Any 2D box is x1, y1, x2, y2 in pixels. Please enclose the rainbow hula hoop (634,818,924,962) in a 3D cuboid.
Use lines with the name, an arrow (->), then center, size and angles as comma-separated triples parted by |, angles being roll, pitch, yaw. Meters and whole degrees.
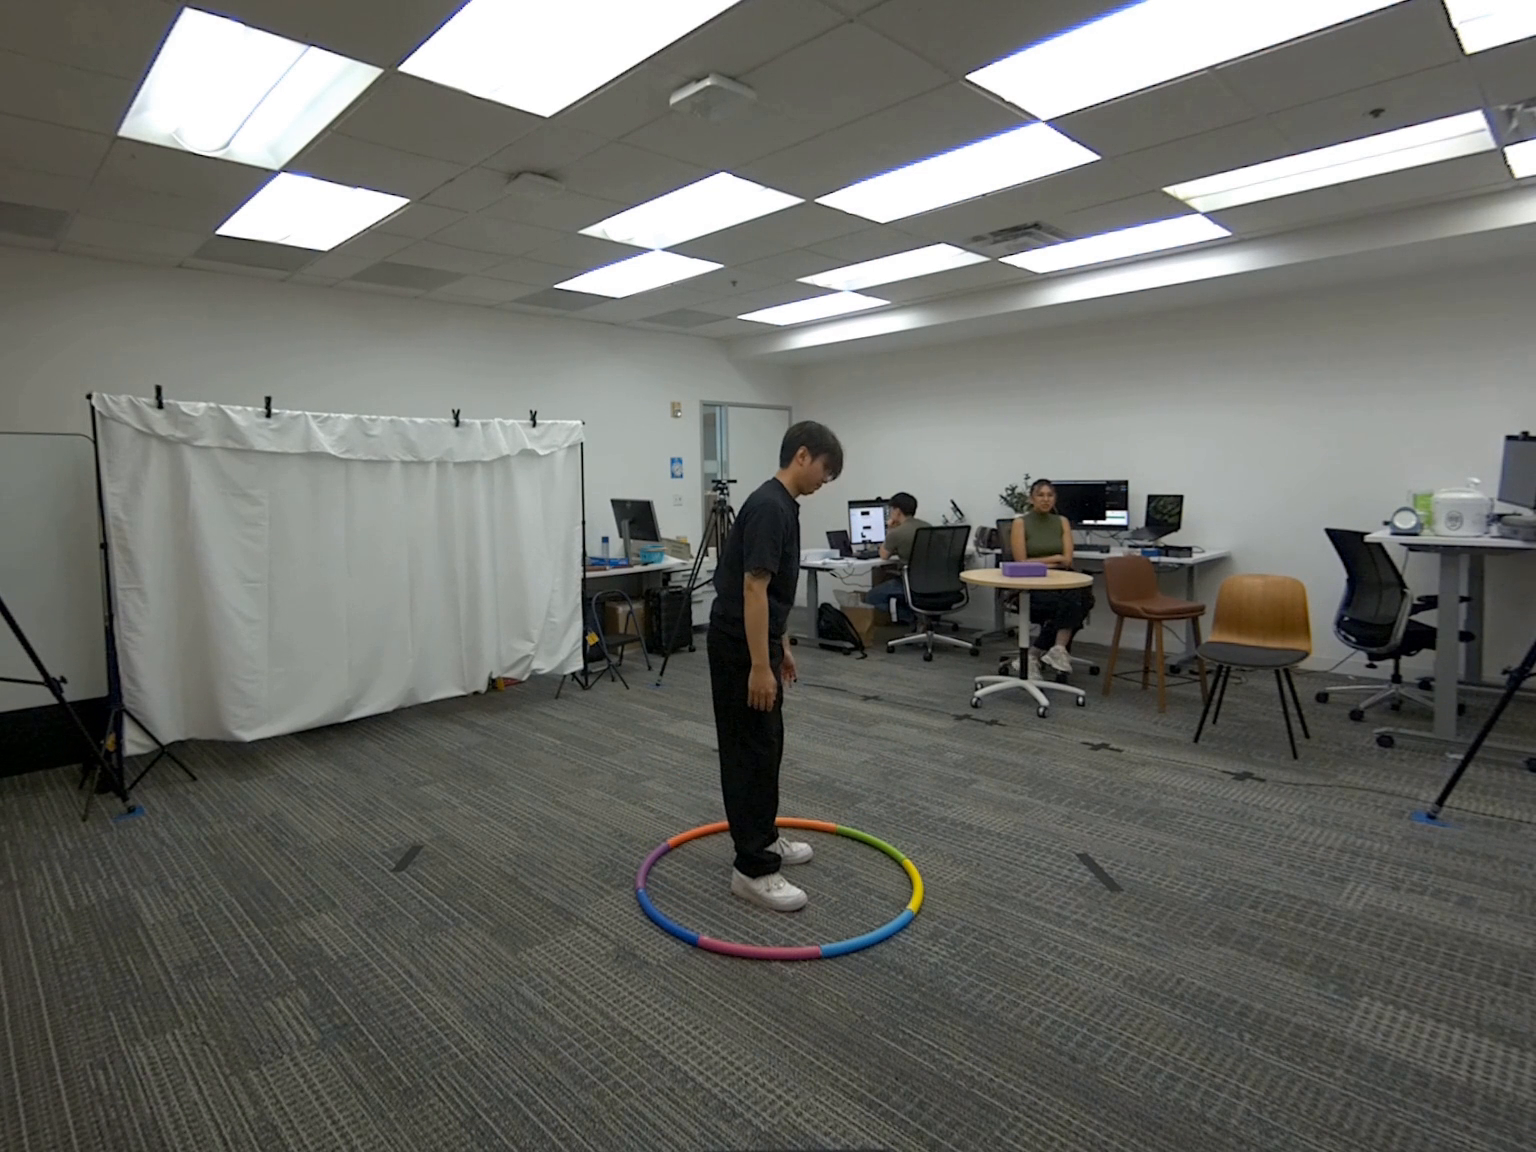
rainbow hula hoop -> 0.031, 1.033, 2.967 | 0.978, 0.035, 0.984 | -1, 6, -2
